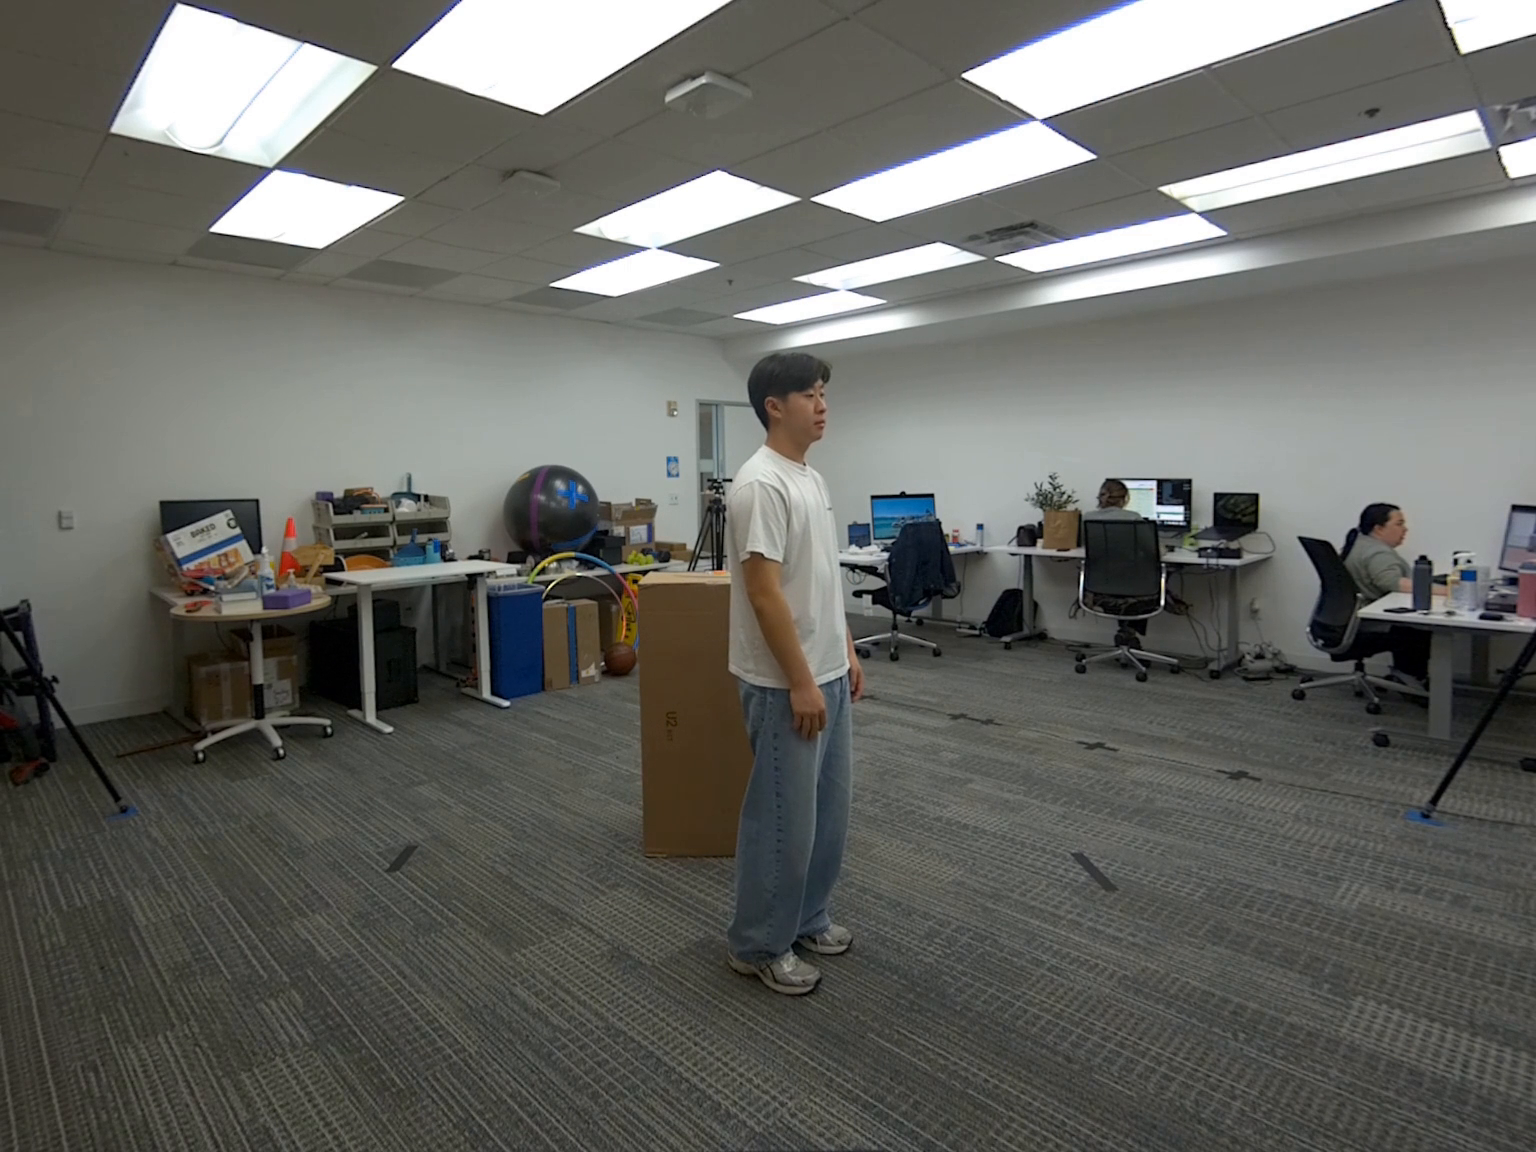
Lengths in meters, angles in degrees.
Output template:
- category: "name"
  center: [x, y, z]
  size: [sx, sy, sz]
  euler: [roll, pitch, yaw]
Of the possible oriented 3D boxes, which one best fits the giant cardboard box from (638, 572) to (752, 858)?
- category: "giant cardboard box"
  center: [-0.191, 0.515, 3.351]
  size: [0.577, 1.023, 0.427]
  euler: [-1, 3, -1]
